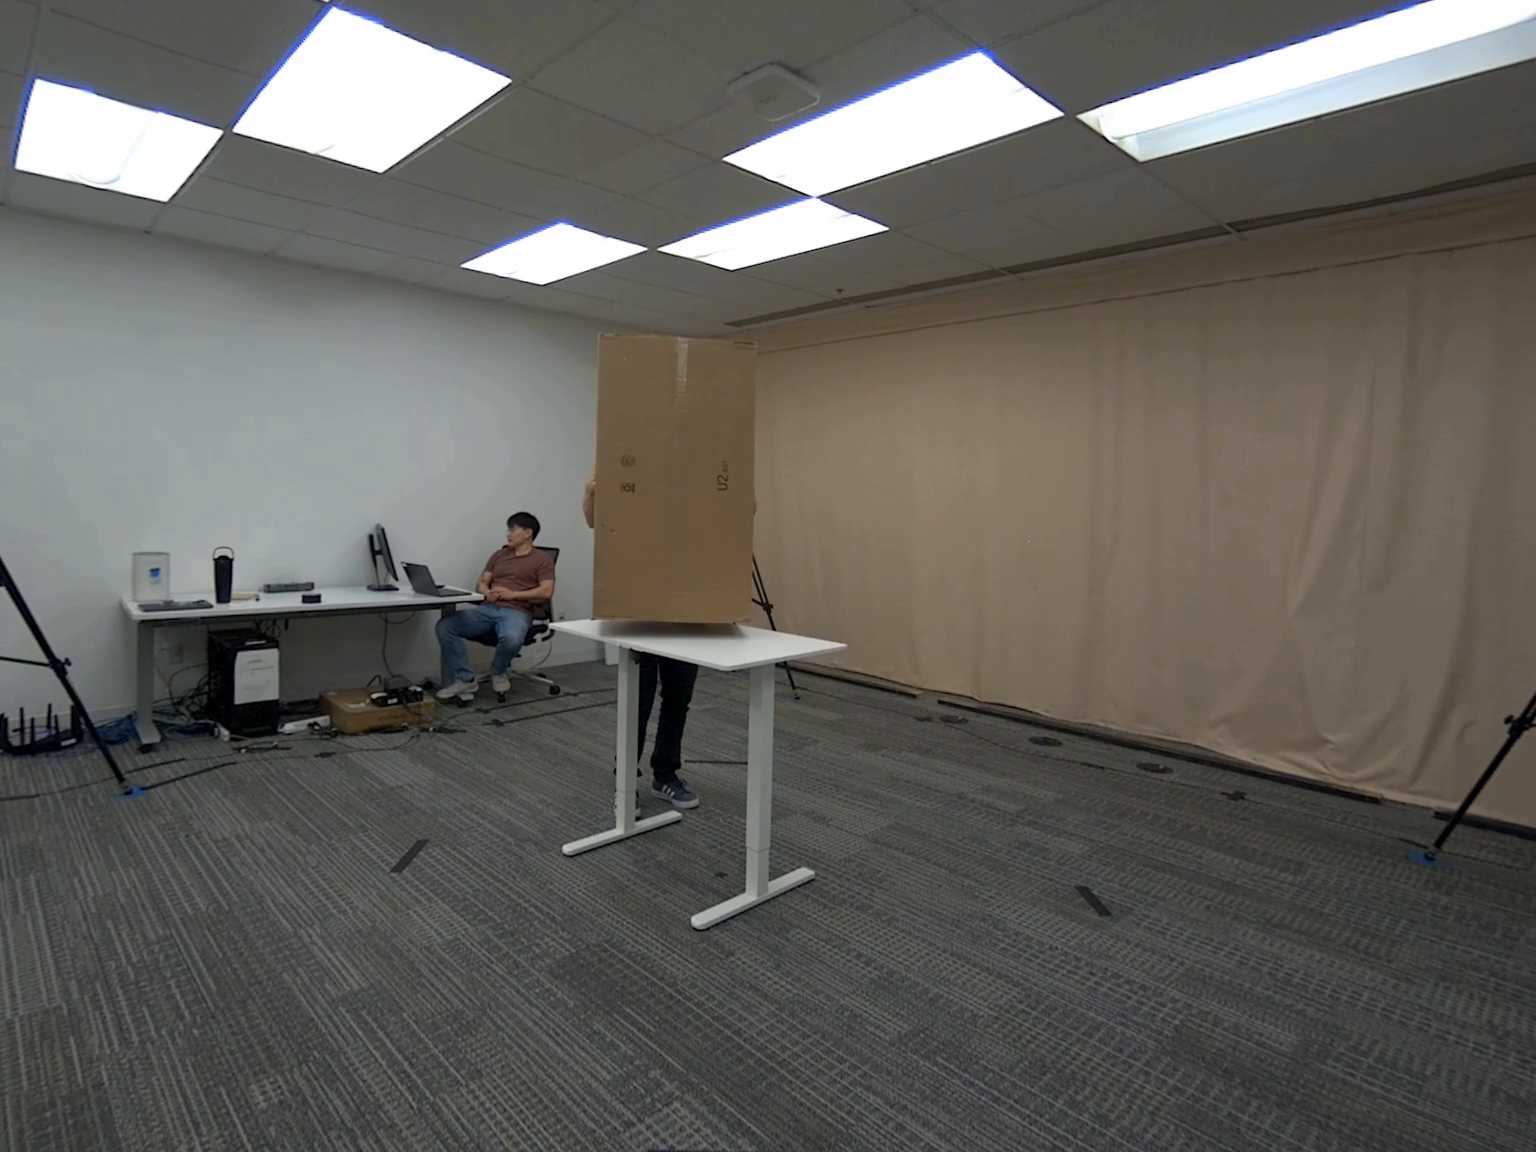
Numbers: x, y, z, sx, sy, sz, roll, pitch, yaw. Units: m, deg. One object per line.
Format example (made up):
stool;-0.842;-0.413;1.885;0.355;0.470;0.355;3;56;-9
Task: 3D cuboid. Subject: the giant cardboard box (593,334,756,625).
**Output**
giant cardboard box;-0.370;-0.346;3.215;0.574;1.026;0.429;1;0;-8
